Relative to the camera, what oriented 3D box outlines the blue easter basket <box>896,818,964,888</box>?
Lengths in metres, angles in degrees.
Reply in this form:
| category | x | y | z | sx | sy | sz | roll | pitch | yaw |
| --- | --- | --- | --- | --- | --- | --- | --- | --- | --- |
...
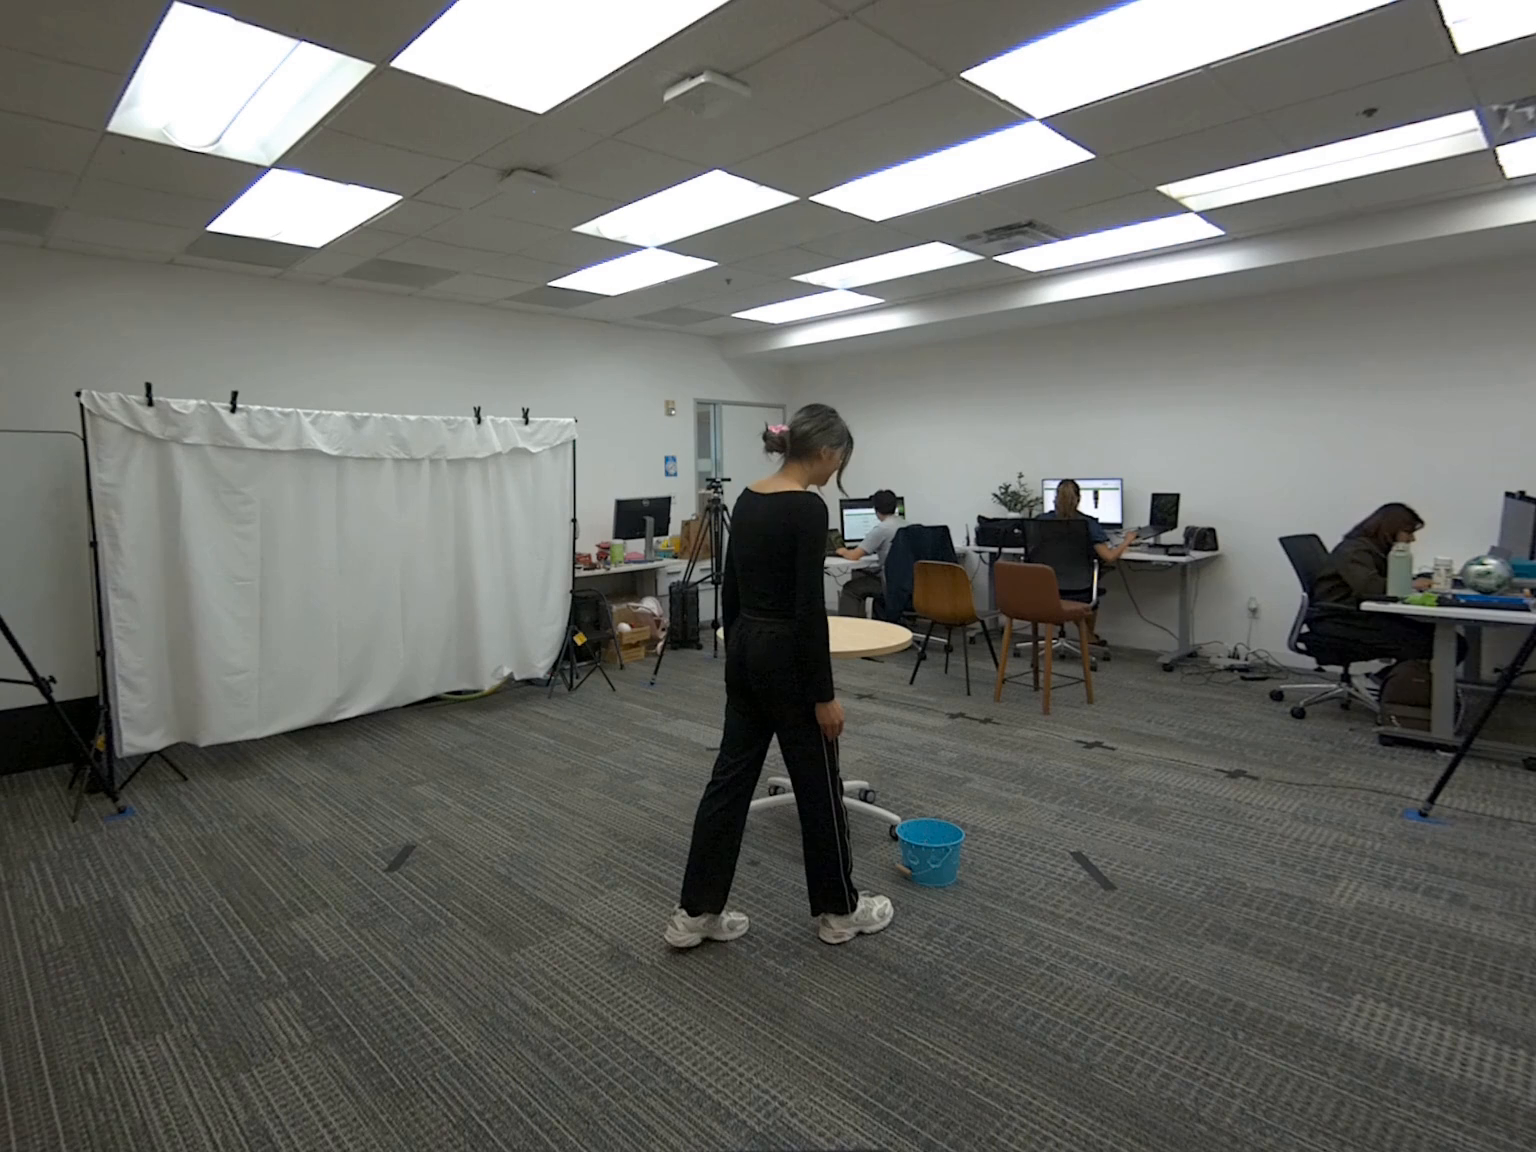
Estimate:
| category | x | y | z | sx | sy | sz | roll | pitch | yaw |
| --- | --- | --- | --- | --- | --- | --- | --- | --- | --- |
| blue easter basket | 0.567 | 0.969 | 2.990 | 0.243 | 0.155 | 0.245 | -1 | 5 | -2 |
